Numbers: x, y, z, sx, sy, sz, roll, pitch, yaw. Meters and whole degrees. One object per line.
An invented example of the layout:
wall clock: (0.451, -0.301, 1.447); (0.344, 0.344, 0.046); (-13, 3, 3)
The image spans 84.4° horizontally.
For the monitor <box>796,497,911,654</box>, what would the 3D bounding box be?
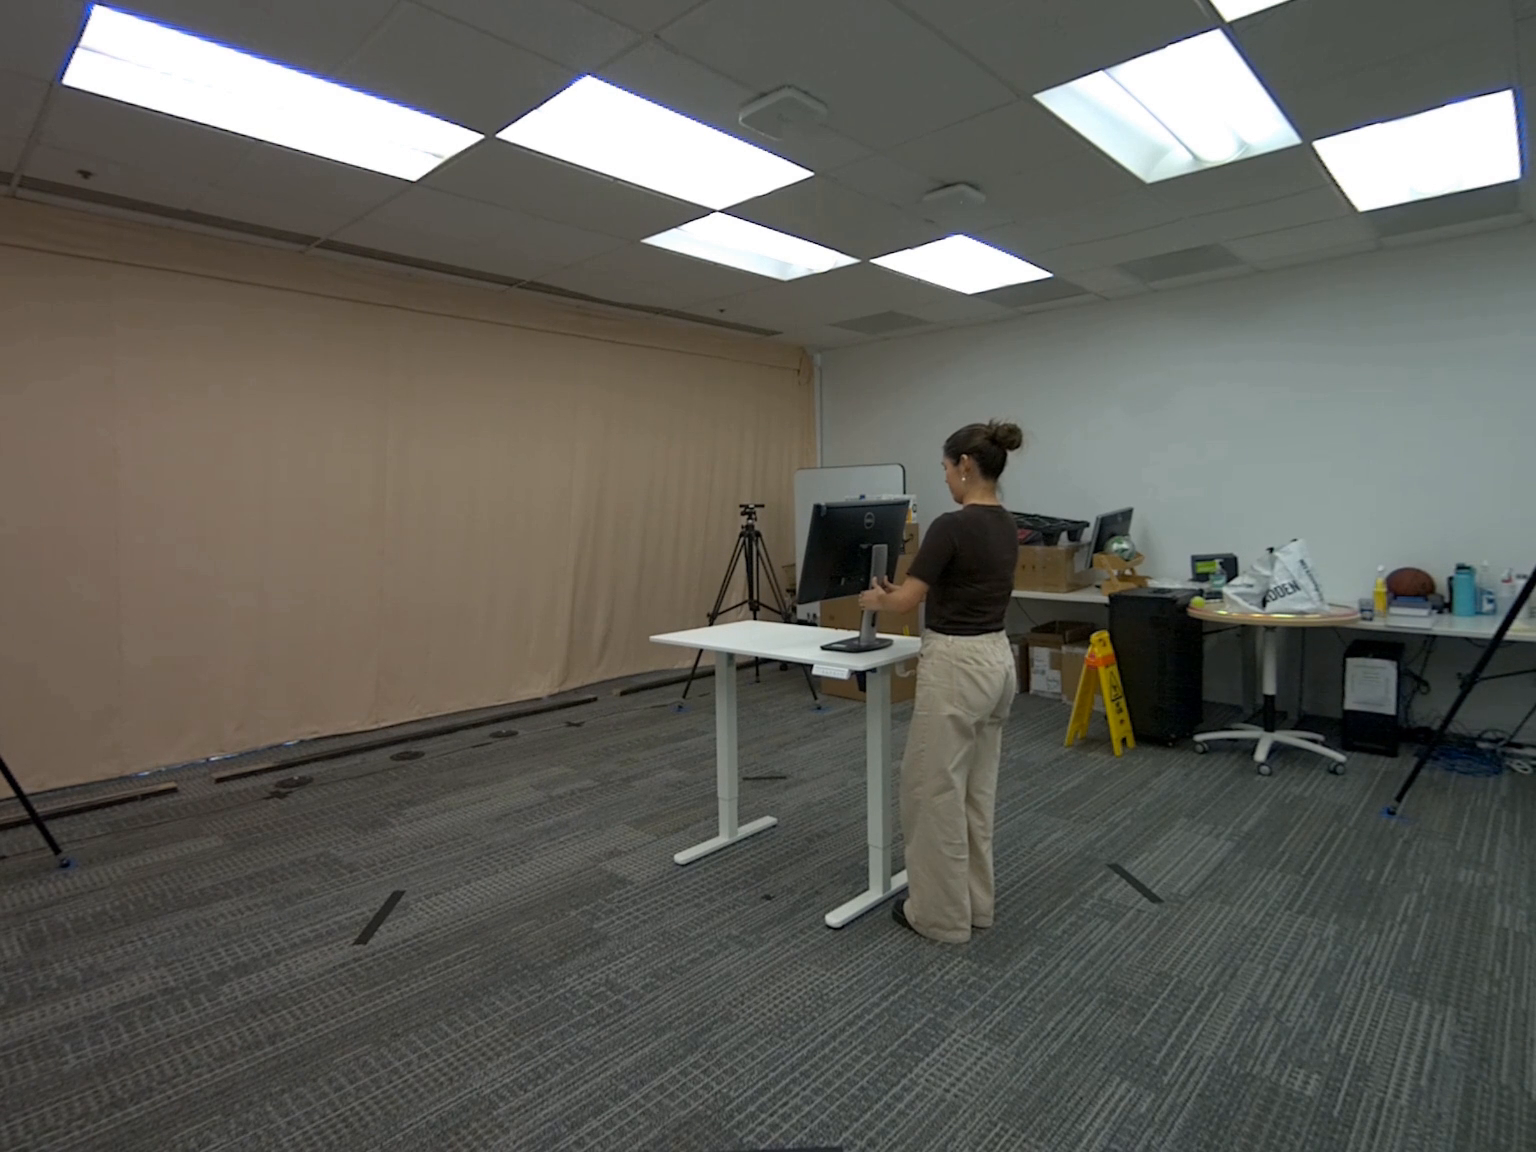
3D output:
monitor: (0.340, -0.002, 2.959); (0.193, 0.521, 0.523); (4, 7, 43)
